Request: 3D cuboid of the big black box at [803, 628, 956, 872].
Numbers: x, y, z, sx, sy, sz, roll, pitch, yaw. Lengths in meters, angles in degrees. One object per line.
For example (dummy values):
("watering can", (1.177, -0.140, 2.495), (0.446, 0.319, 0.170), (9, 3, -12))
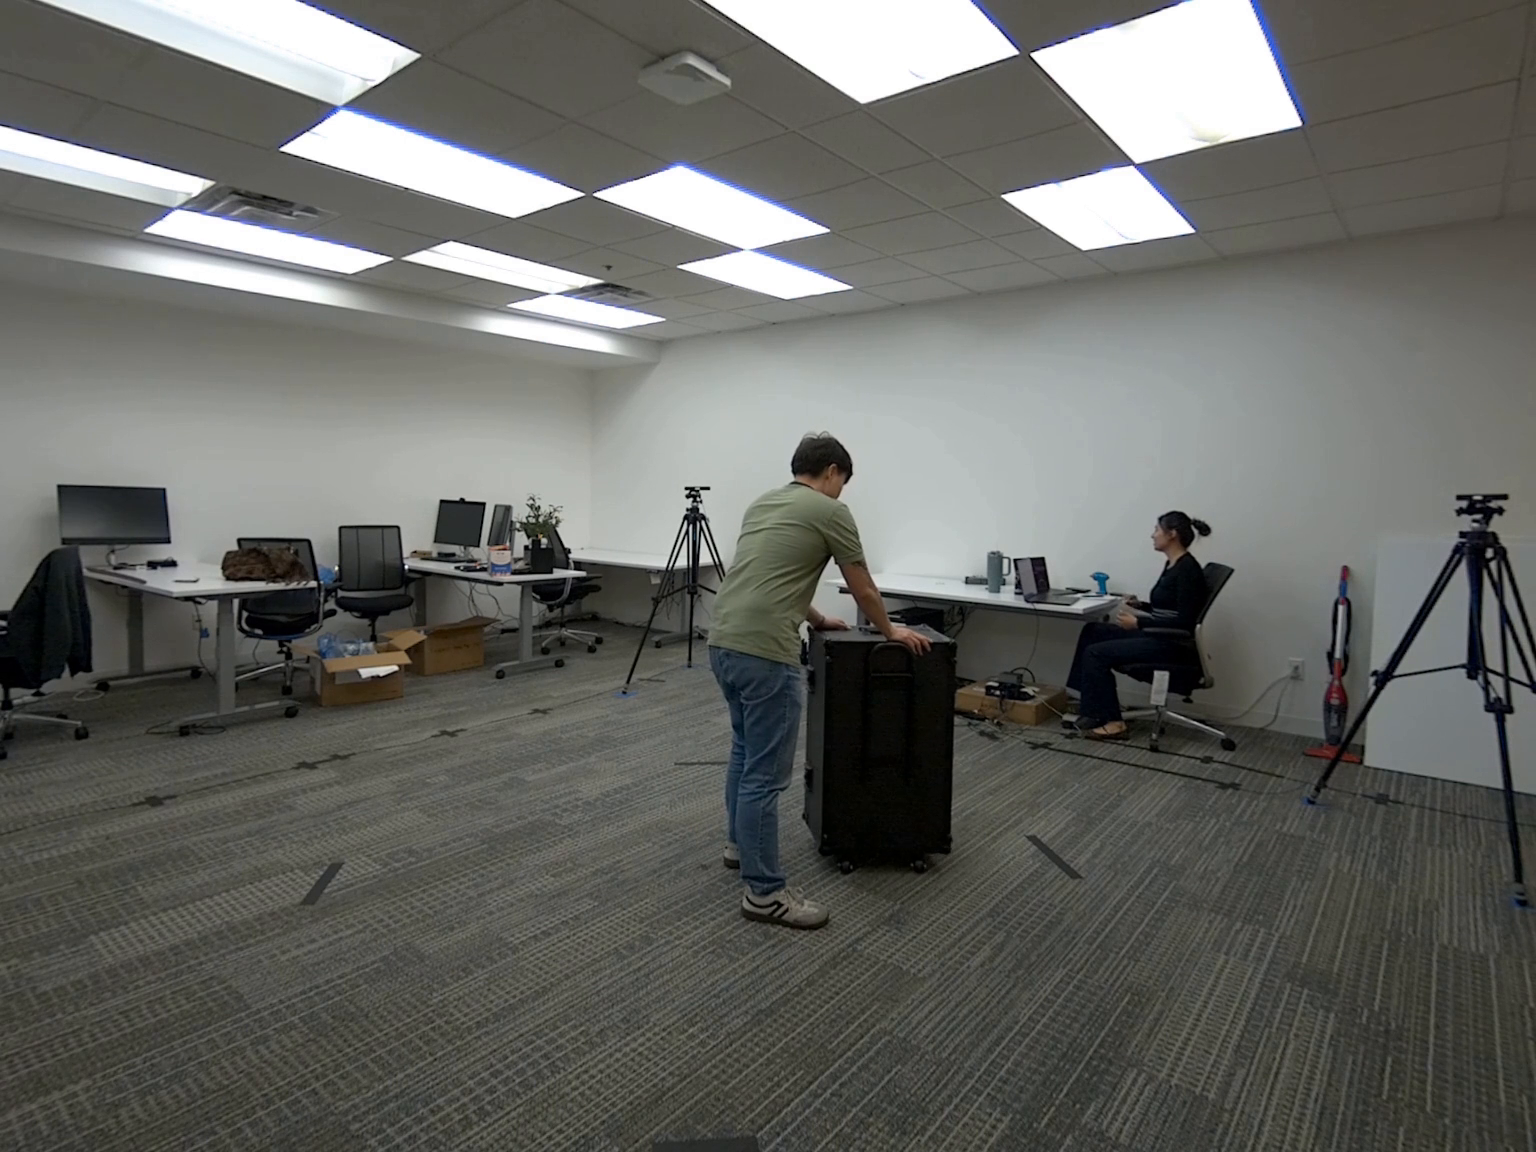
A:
("big black box", (0.413, 0.642, 3.236), (0.519, 0.859, 0.400), (1, 4, -5))
